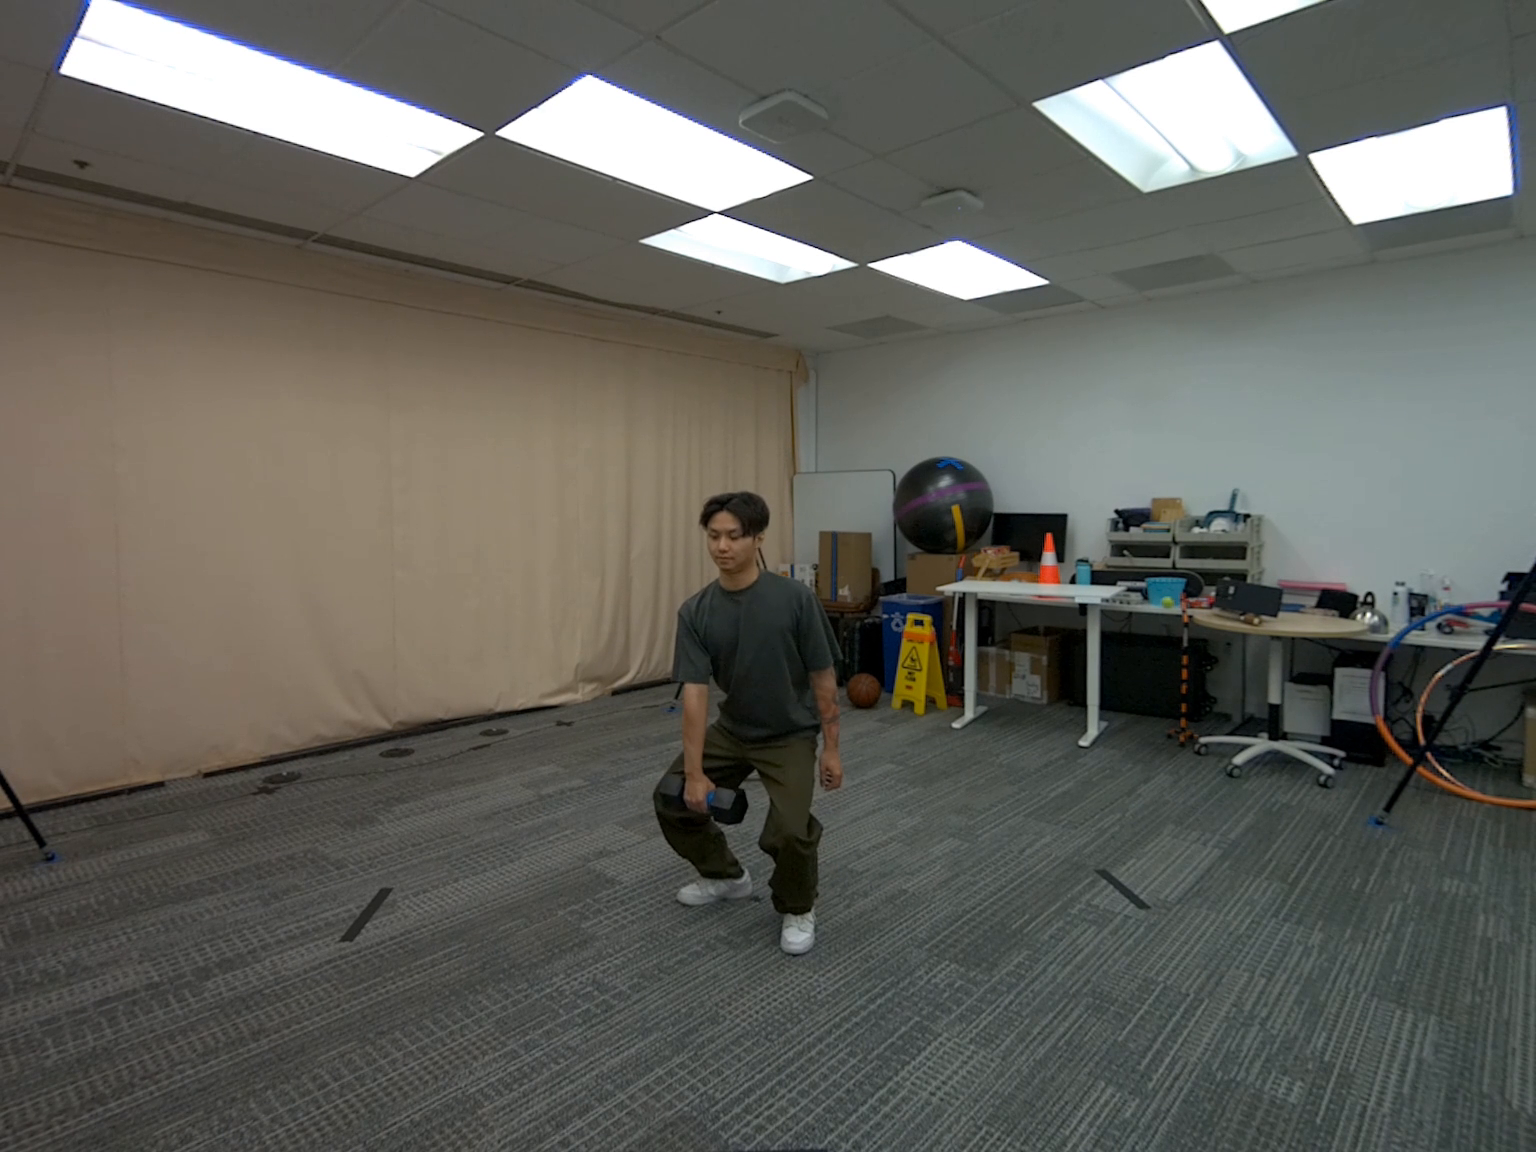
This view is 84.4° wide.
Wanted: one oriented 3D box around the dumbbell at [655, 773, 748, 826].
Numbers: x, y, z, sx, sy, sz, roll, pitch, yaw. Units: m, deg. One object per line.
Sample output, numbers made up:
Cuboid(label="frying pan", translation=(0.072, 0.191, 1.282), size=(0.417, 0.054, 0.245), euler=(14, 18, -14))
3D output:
Cuboid(label="dumbbell", translation=(-0.203, 0.721, 2.726), size=(0.303, 0.121, 0.107), euler=(2, 24, 36))
